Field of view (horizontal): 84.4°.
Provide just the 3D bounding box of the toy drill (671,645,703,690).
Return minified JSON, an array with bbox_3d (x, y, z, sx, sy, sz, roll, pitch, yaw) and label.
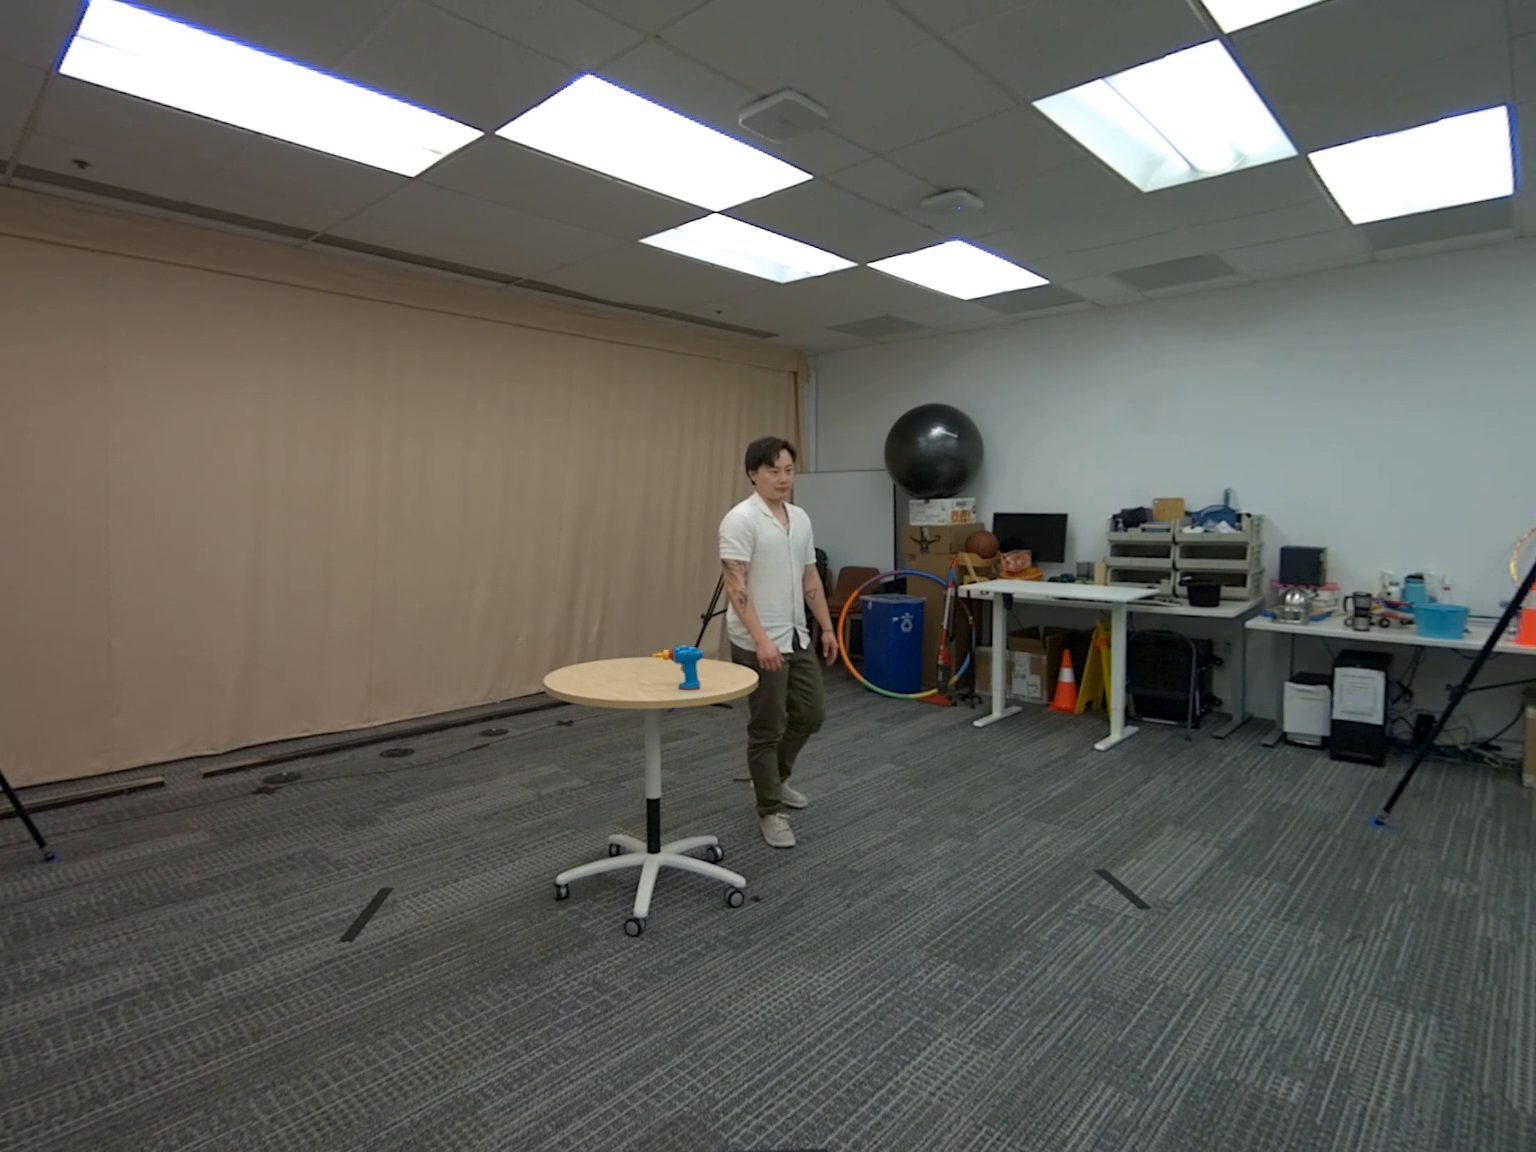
[{"bbox_3d":[-0.304,0.303,2.817,0.170,0.145,0.061,0,4,0],"label":"toy drill"}]
